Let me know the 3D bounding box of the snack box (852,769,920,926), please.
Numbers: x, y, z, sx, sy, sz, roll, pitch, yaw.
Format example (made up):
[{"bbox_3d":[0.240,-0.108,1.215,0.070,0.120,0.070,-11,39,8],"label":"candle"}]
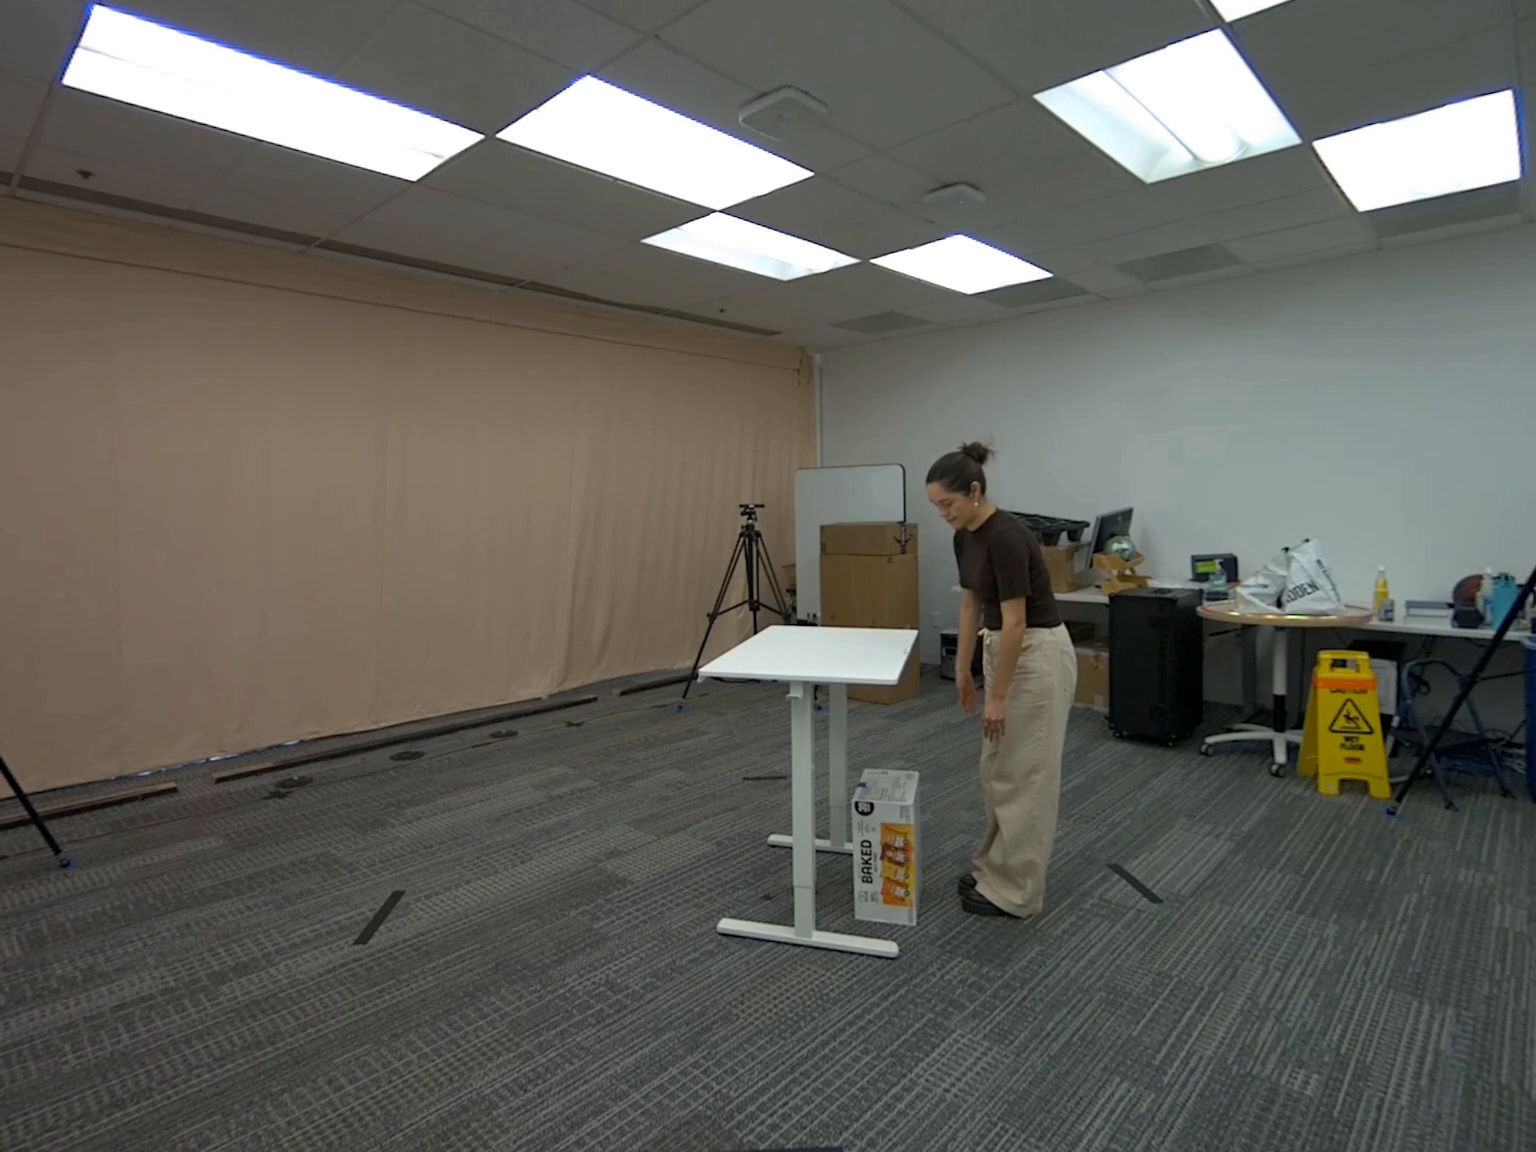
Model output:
[{"bbox_3d":[0.429,0.934,2.939,0.209,0.404,0.335,-2,3,14],"label":"snack box"}]
